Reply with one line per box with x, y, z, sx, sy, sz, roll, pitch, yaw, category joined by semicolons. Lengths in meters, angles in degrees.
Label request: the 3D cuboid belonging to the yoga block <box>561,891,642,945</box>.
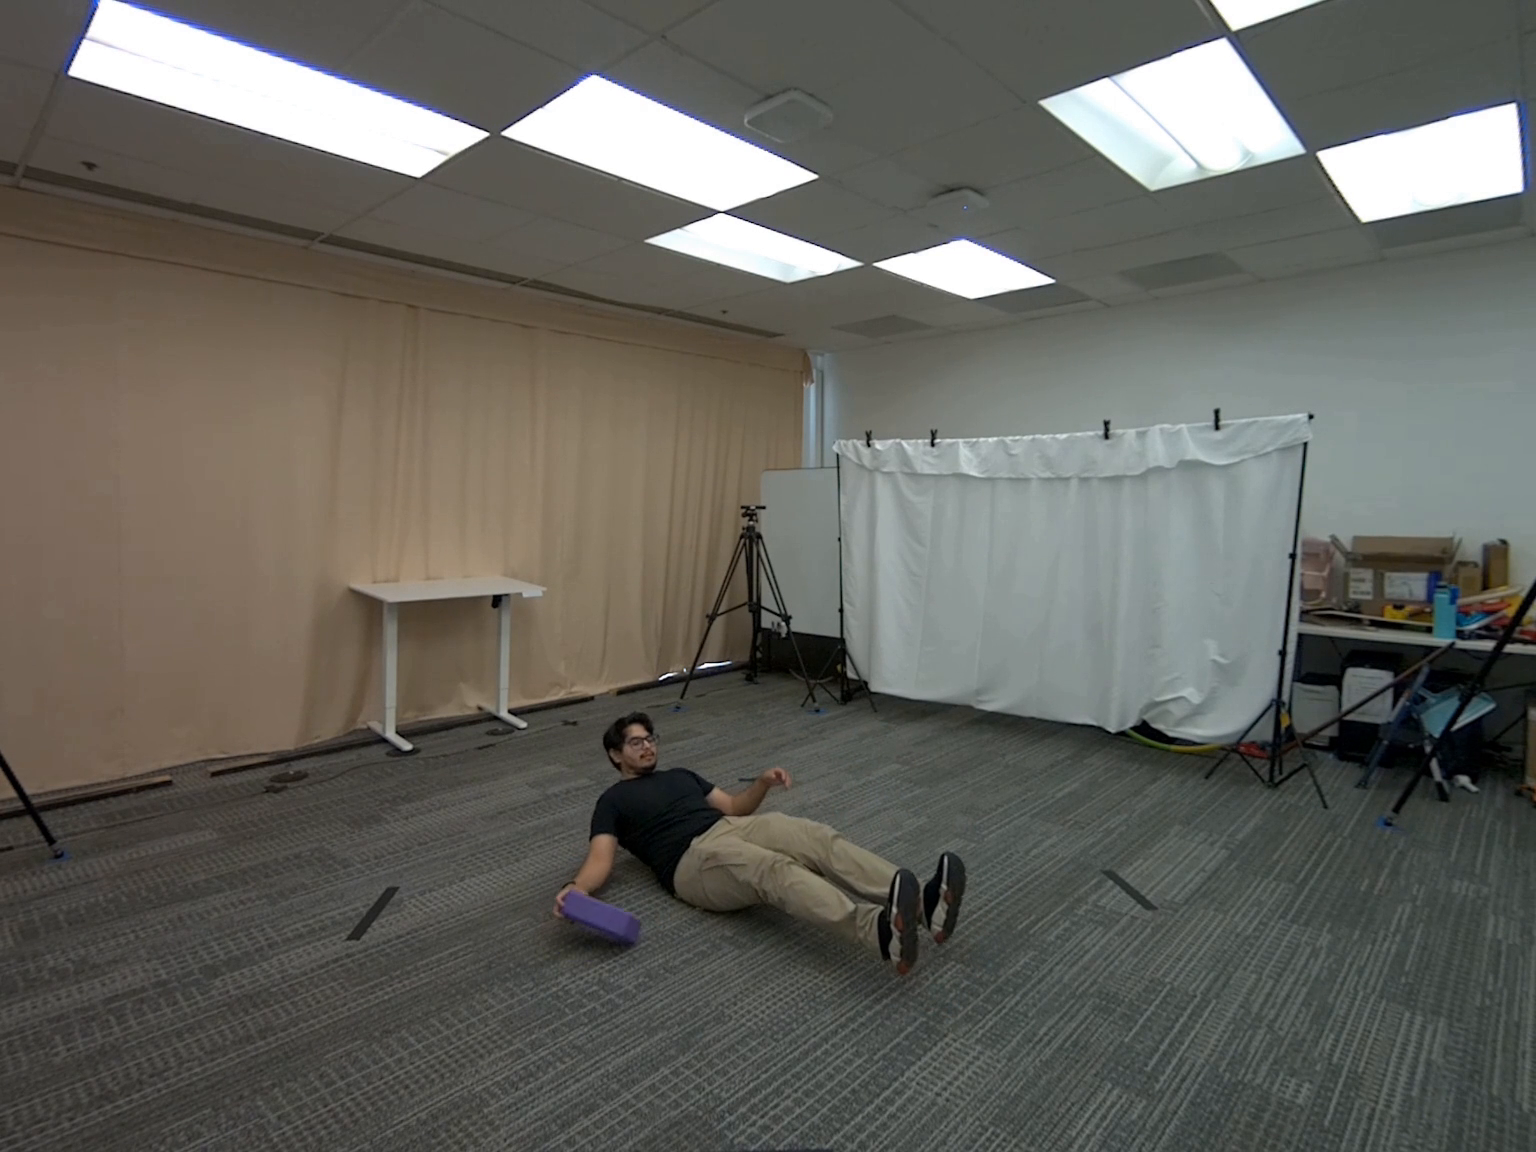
-0.527;1.071;2.684;0.234;0.077;0.145;13;-24;19;yoga block
